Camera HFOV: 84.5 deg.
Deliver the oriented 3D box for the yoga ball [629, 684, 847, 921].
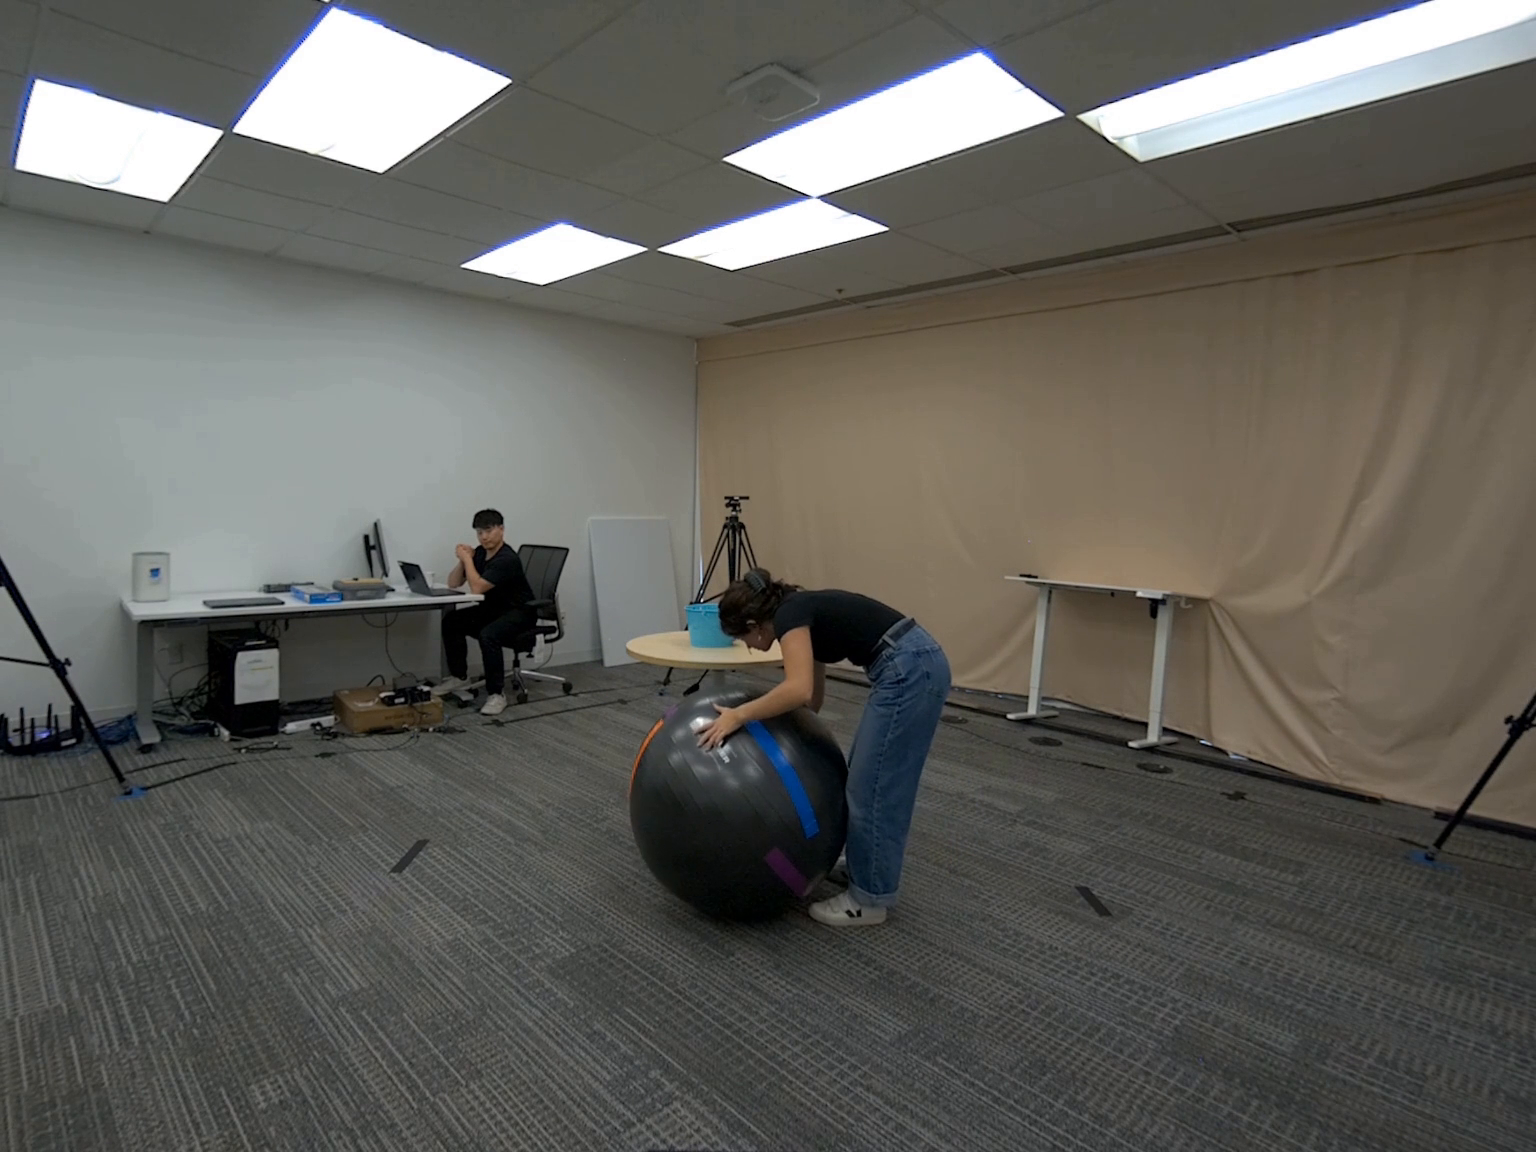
[{"bbox_3d":[-0.105,0.756,2.870,0.757,0.756,0.761,1,4,-1],"label":"yoga ball"}]
